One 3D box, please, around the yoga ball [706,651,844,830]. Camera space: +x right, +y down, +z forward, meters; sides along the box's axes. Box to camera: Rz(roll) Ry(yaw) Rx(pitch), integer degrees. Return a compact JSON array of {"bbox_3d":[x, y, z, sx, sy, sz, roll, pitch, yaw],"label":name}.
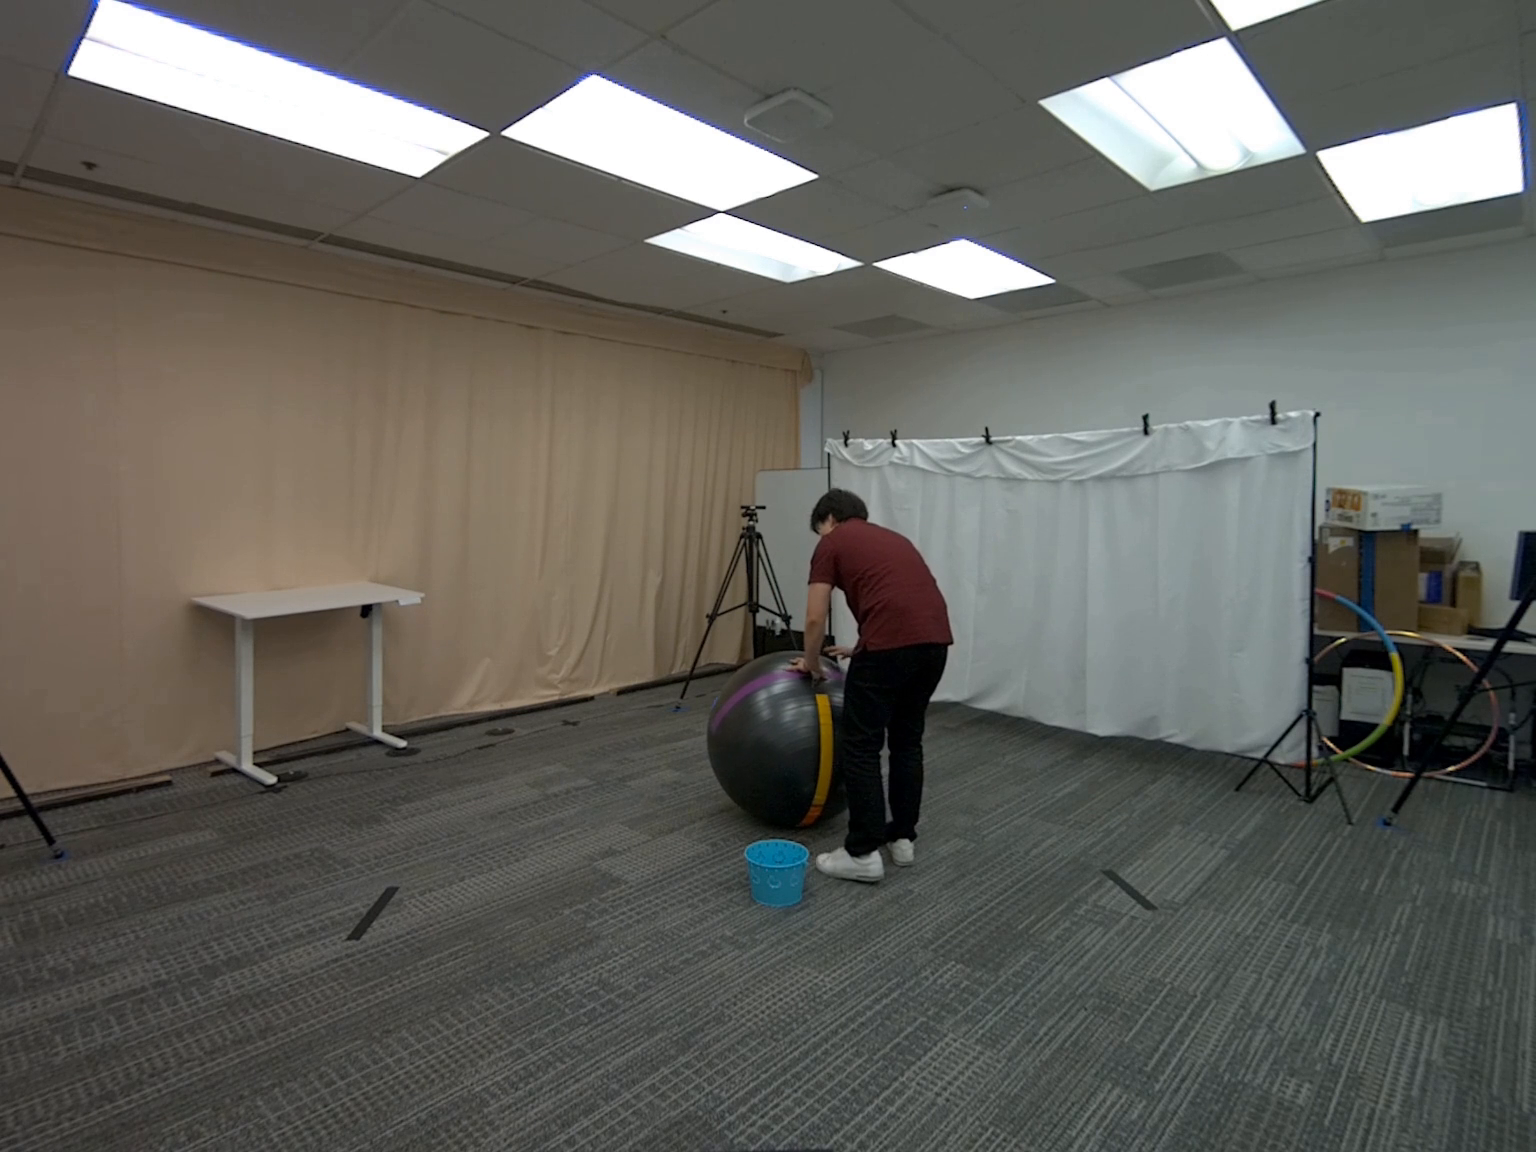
[{"bbox_3d":[0.109,0.721,3.748,0.757,0.756,0.760,0,4,-2],"label":"yoga ball"}]
